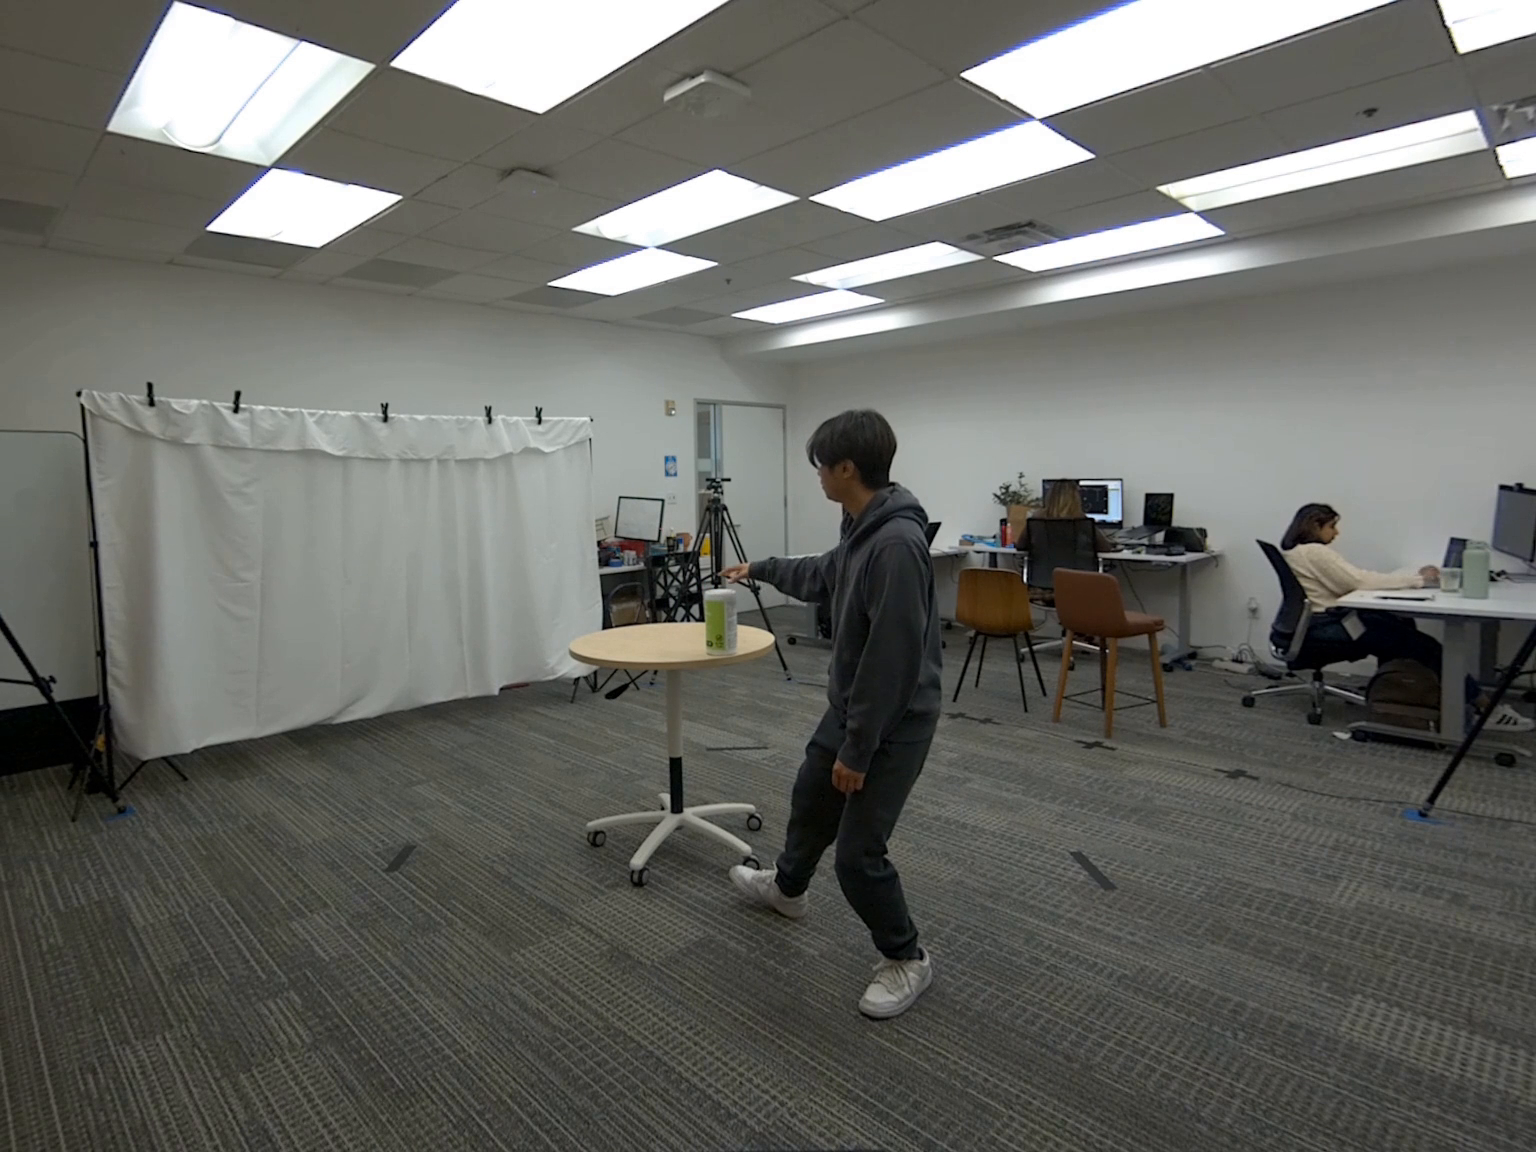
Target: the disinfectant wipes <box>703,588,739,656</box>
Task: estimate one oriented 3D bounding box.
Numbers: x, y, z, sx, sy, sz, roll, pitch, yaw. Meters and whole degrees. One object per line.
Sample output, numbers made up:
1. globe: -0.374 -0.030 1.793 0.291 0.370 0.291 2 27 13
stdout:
1. disinfectant wipes: -0.154 0.161 2.929 0.118 0.216 0.118 1 6 -2
